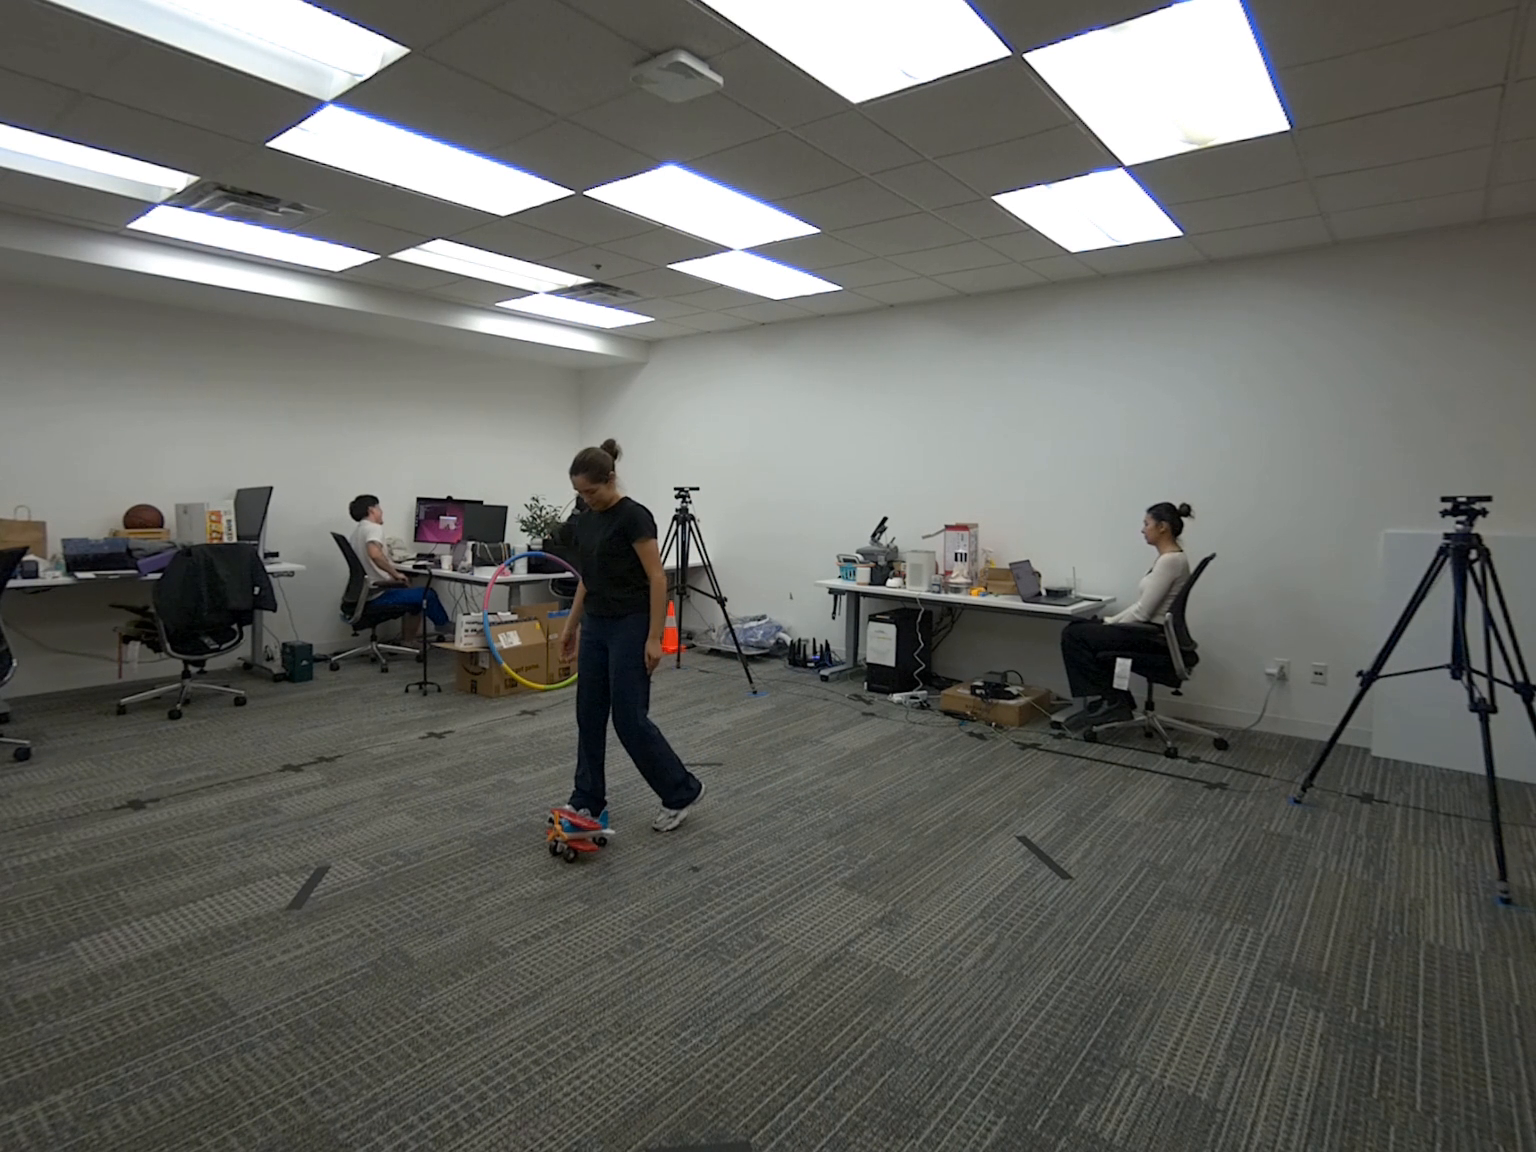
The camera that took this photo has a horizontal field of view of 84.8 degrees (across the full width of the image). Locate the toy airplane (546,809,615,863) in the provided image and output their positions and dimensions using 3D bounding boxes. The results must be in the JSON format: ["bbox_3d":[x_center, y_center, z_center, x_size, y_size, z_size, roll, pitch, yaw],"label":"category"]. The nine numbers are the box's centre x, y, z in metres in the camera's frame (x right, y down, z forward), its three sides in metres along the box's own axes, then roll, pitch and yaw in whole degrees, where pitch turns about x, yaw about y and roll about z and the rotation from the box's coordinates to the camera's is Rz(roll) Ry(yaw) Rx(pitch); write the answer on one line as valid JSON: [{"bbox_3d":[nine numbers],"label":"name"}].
[{"bbox_3d":[-0.727,0.974,3.266,0.255,0.156,0.256,1,5,14],"label":"toy airplane"}]
